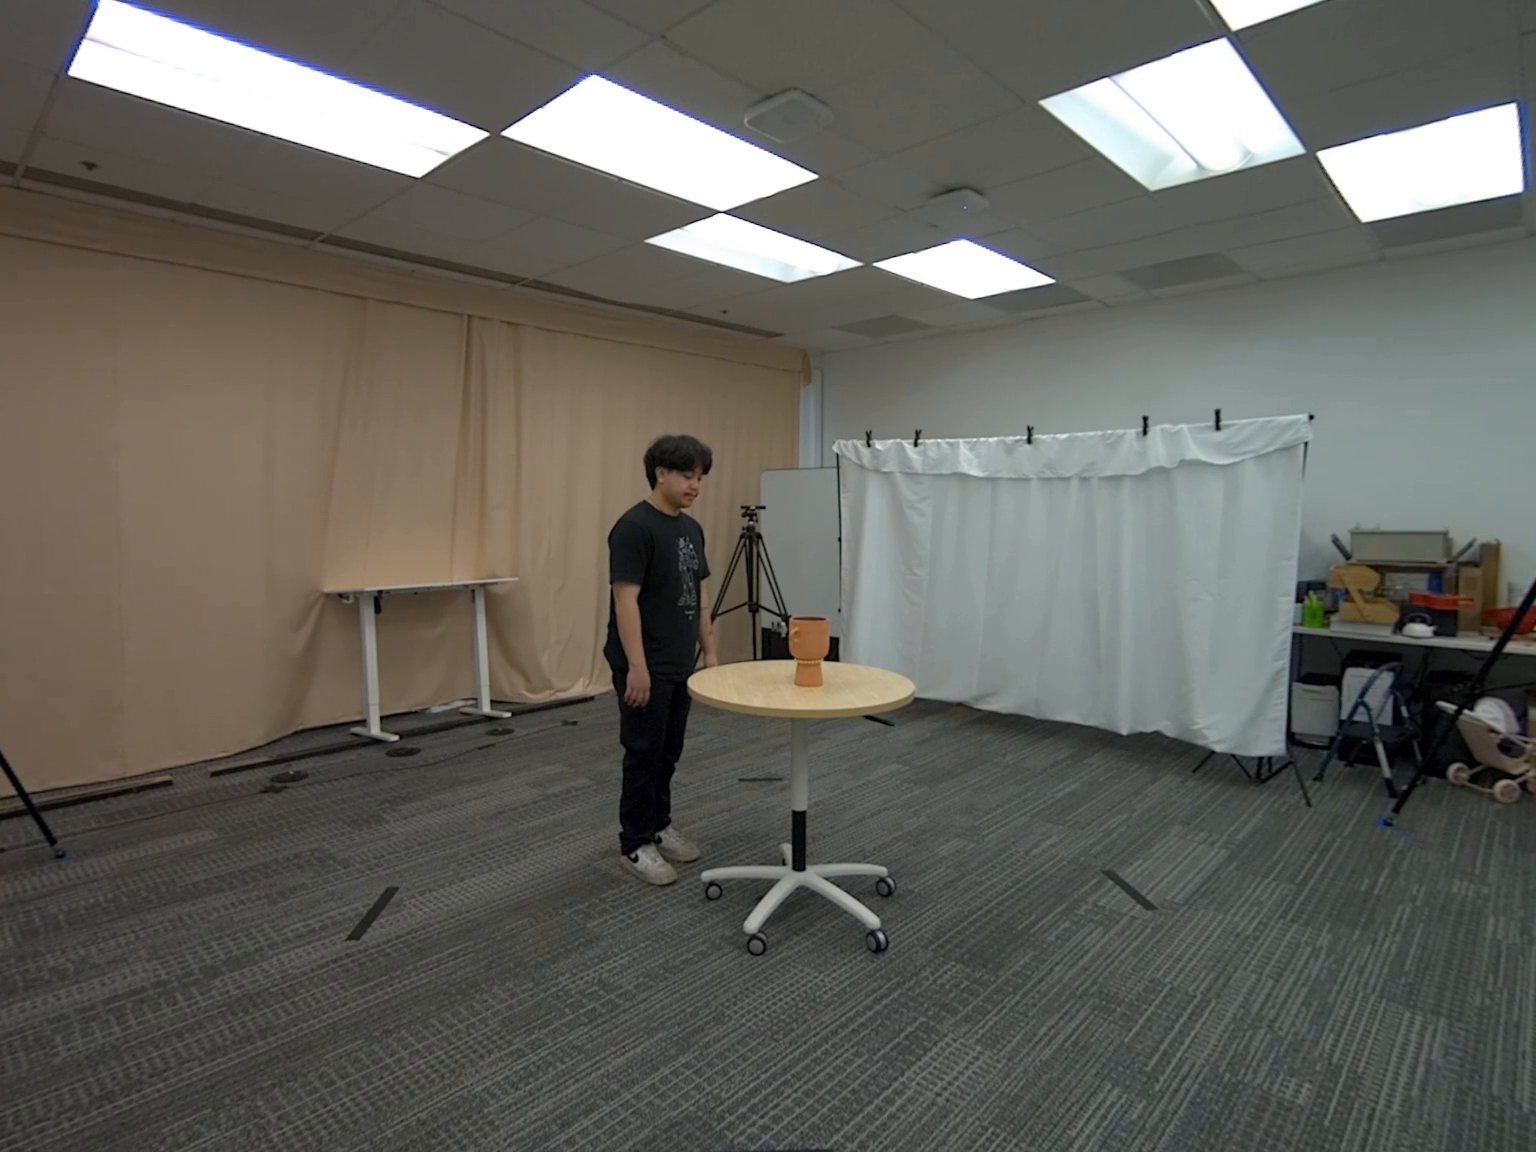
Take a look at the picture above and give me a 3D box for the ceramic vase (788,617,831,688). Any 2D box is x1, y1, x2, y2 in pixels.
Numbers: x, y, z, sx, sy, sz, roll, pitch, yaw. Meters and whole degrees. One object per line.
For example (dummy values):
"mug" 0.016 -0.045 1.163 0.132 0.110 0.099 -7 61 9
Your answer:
"ceramic vase" 0.142 0.255 2.818 0.157 0.219 0.136 0 4 -9
